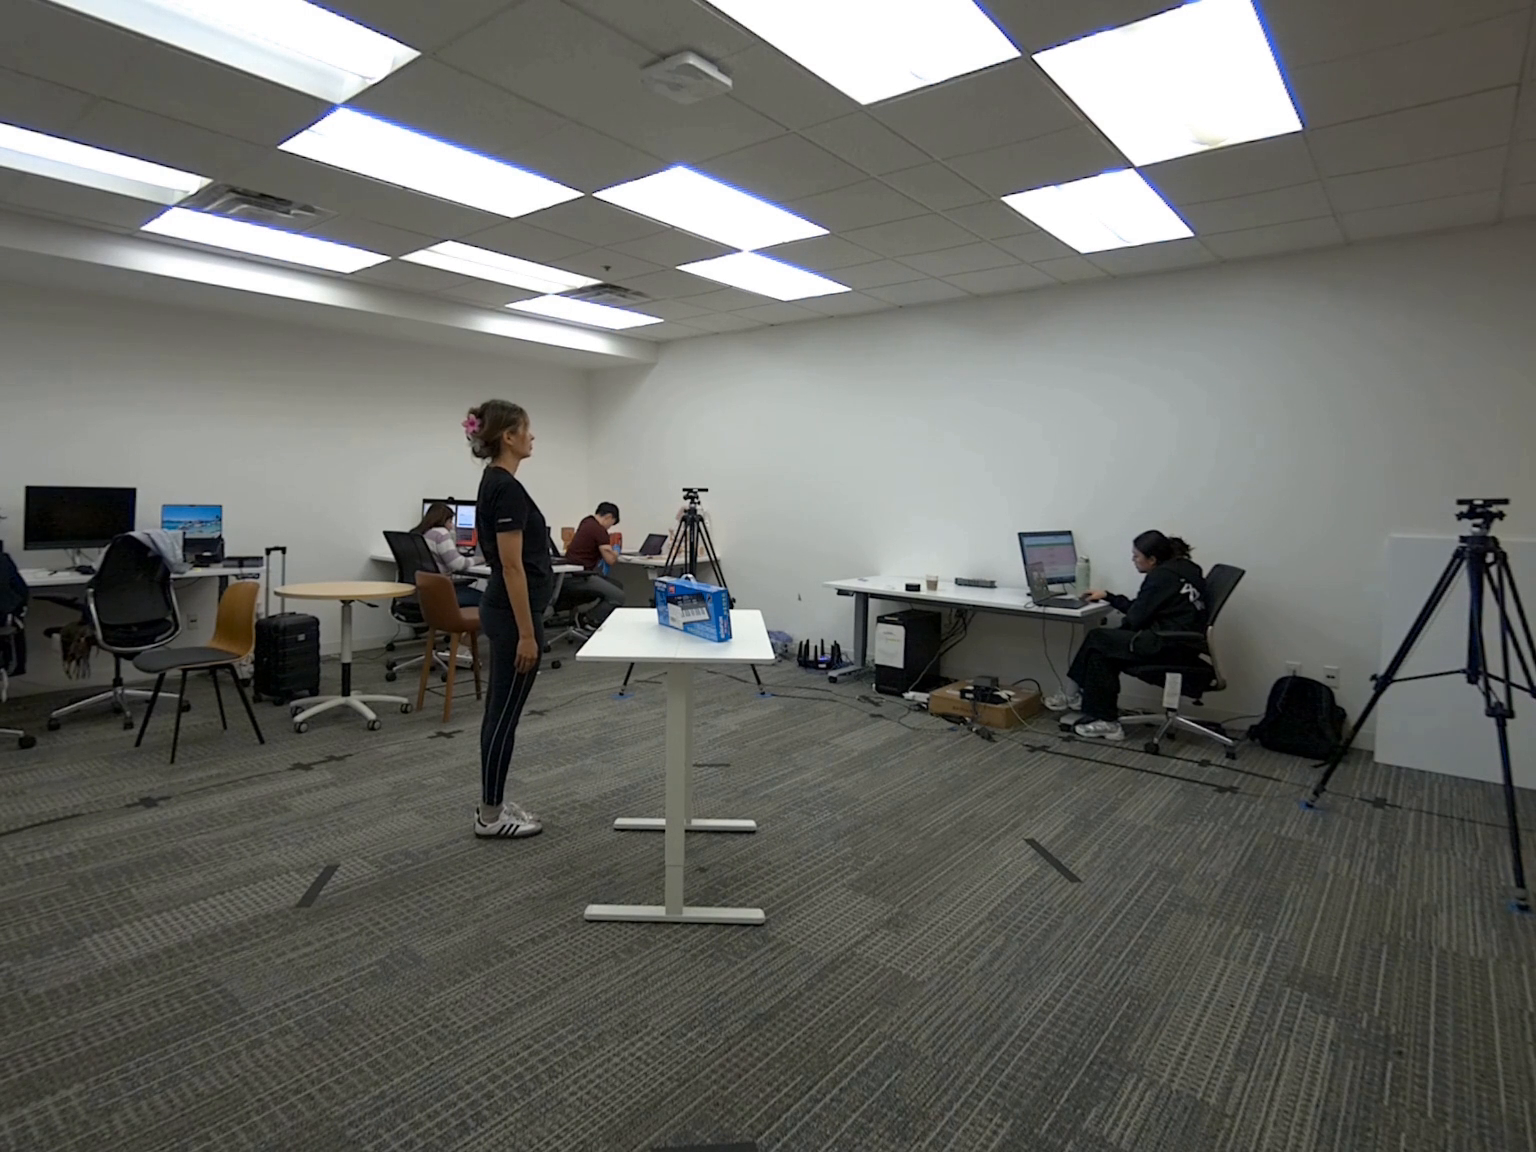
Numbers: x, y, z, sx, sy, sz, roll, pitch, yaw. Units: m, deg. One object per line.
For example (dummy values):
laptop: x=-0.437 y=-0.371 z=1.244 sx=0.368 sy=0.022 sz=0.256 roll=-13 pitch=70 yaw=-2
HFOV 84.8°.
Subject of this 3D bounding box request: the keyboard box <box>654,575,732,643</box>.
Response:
keyboard box: x=-0.282 y=0.110 z=2.995 sx=0.058 sy=0.174 sz=0.451 roll=-9 pitch=10 yaw=-33
